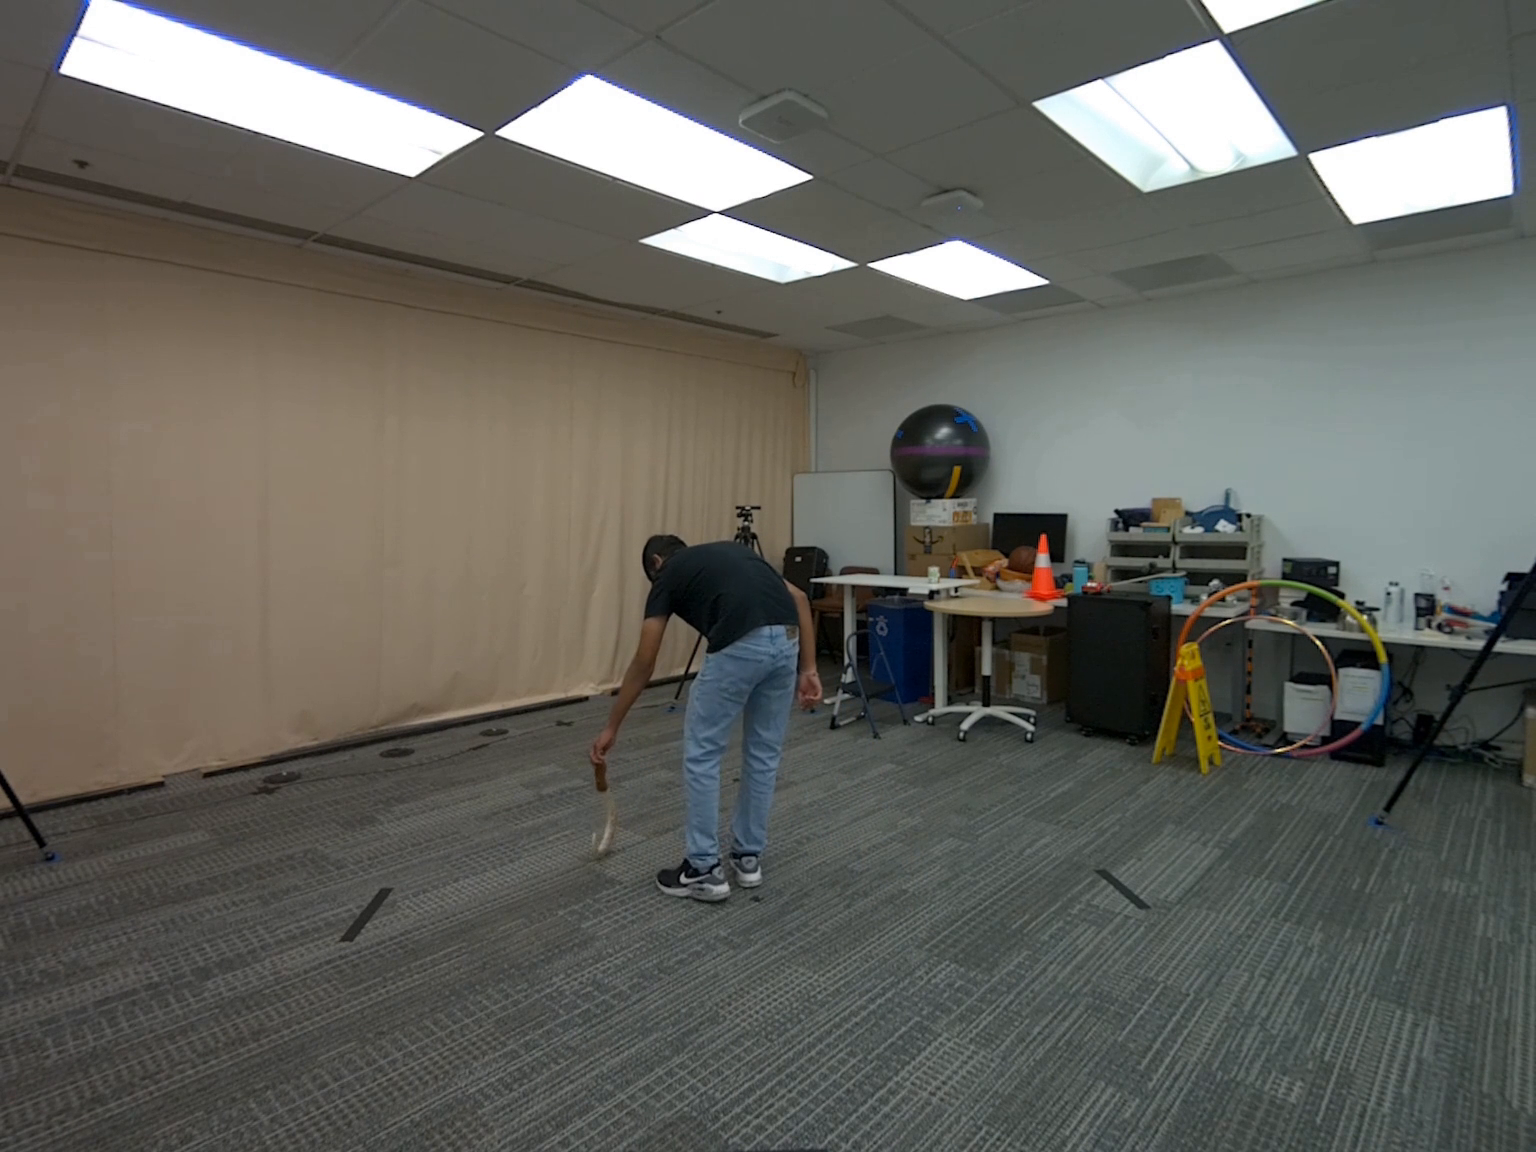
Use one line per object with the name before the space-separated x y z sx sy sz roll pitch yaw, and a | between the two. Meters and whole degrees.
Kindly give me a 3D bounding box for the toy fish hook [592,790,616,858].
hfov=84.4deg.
toy fish hook | -0.648 0.891 3.256 0.049 0.497 0.226 2 33 8
